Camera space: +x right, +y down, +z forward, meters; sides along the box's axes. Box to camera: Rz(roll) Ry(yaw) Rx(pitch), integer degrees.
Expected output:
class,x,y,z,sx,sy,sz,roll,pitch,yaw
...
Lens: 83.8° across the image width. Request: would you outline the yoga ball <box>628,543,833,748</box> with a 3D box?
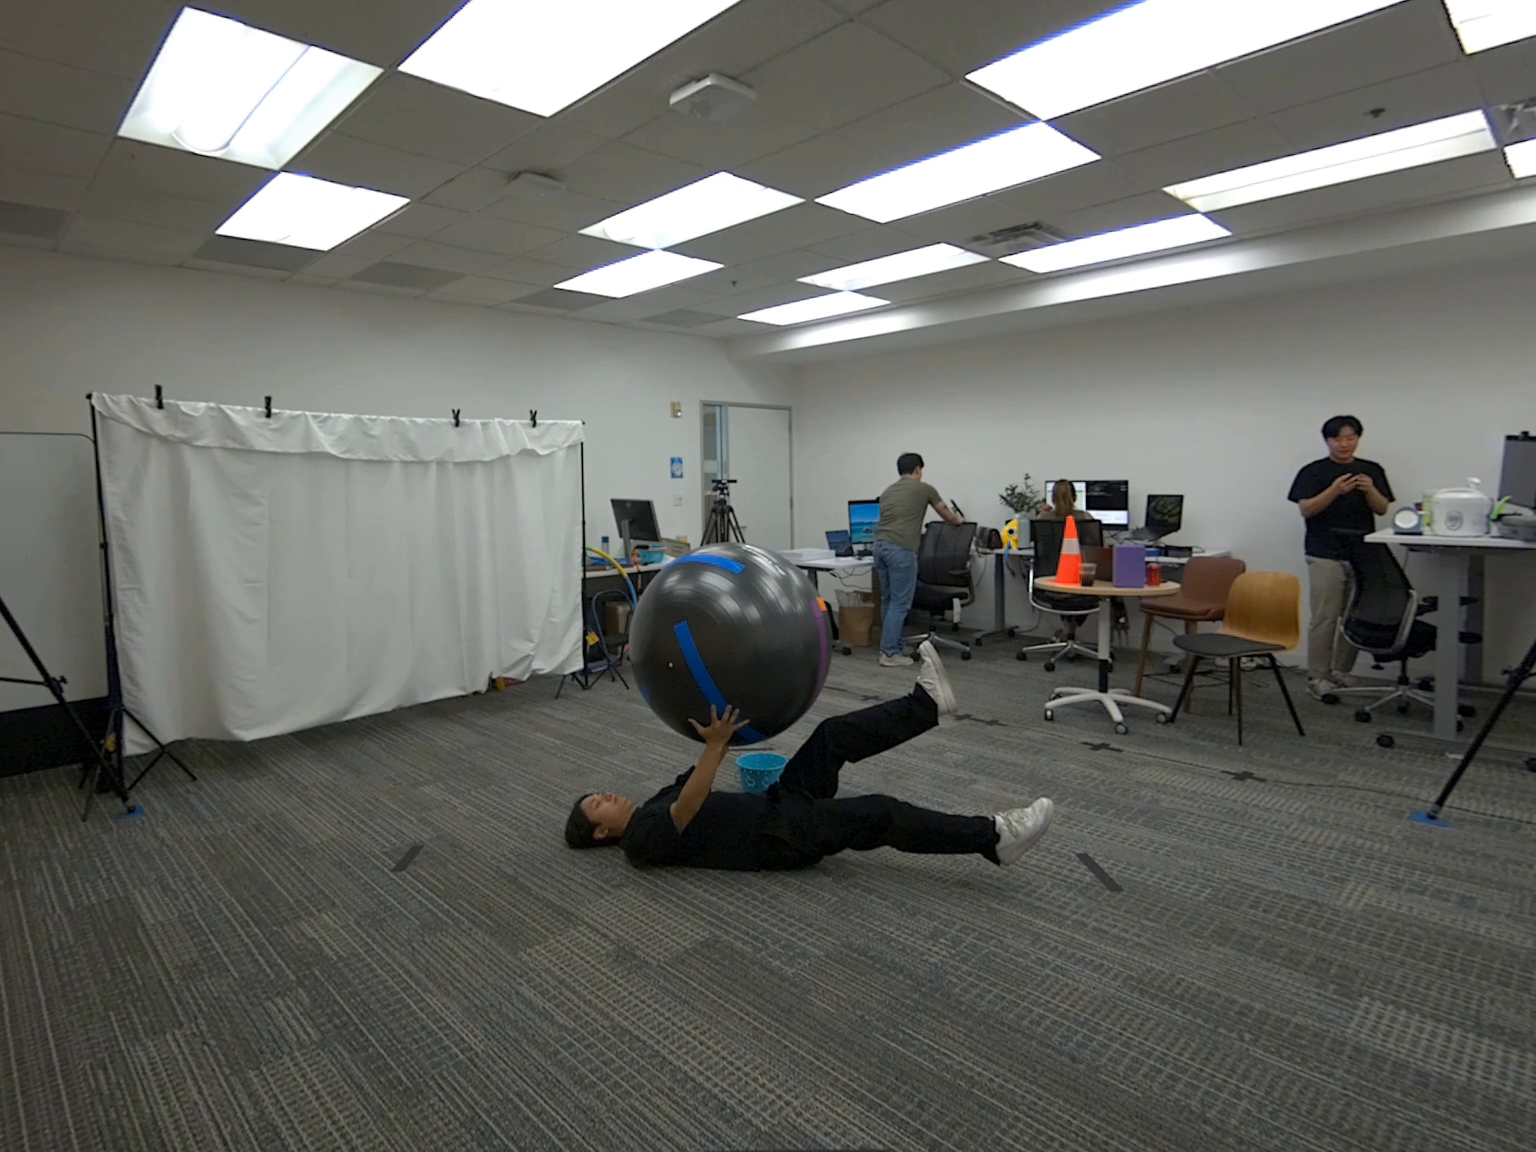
class,x,y,z,sx,sy,sz,roll,pitch,yaw
yoga ball,-0.146,0.258,3.209,0.757,0.755,0.762,-1,5,-2
